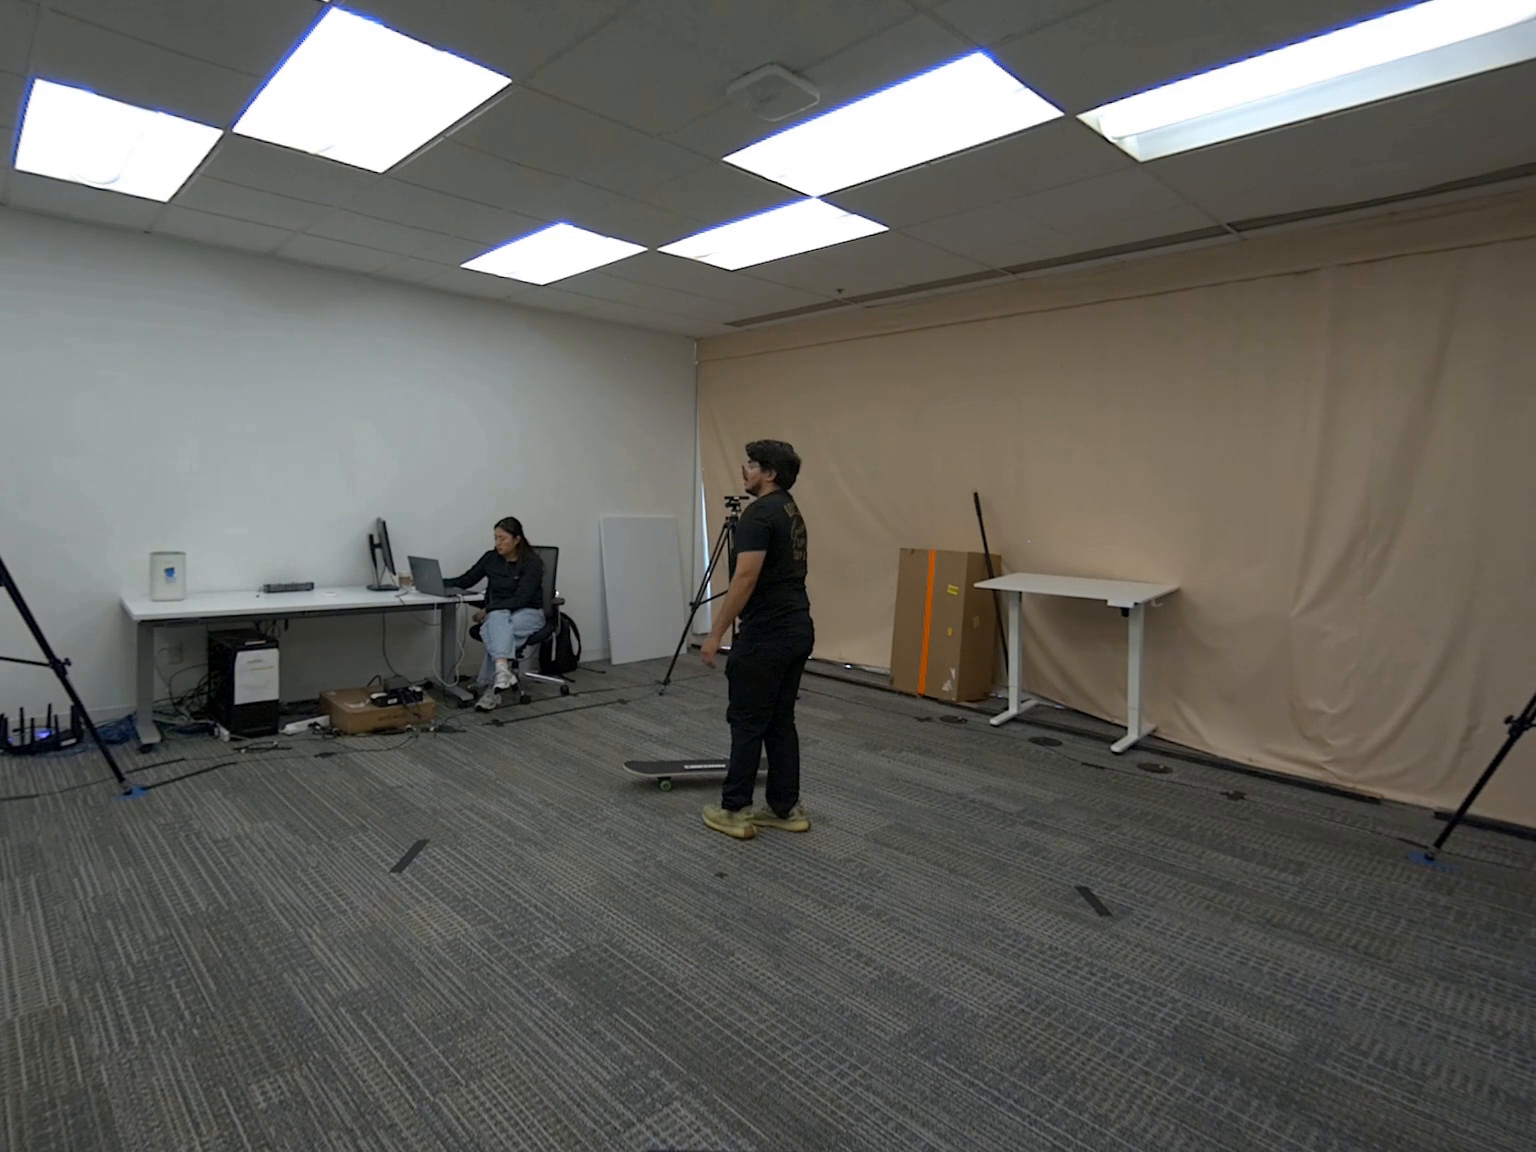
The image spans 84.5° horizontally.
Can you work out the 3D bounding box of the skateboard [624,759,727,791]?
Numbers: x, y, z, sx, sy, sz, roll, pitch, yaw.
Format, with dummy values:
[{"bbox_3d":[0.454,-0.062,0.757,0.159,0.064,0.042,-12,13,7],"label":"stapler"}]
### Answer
[{"bbox_3d":[-0.324,0.955,4.099,0.778,0.110,0.196,1,5,-11],"label":"skateboard"}]
